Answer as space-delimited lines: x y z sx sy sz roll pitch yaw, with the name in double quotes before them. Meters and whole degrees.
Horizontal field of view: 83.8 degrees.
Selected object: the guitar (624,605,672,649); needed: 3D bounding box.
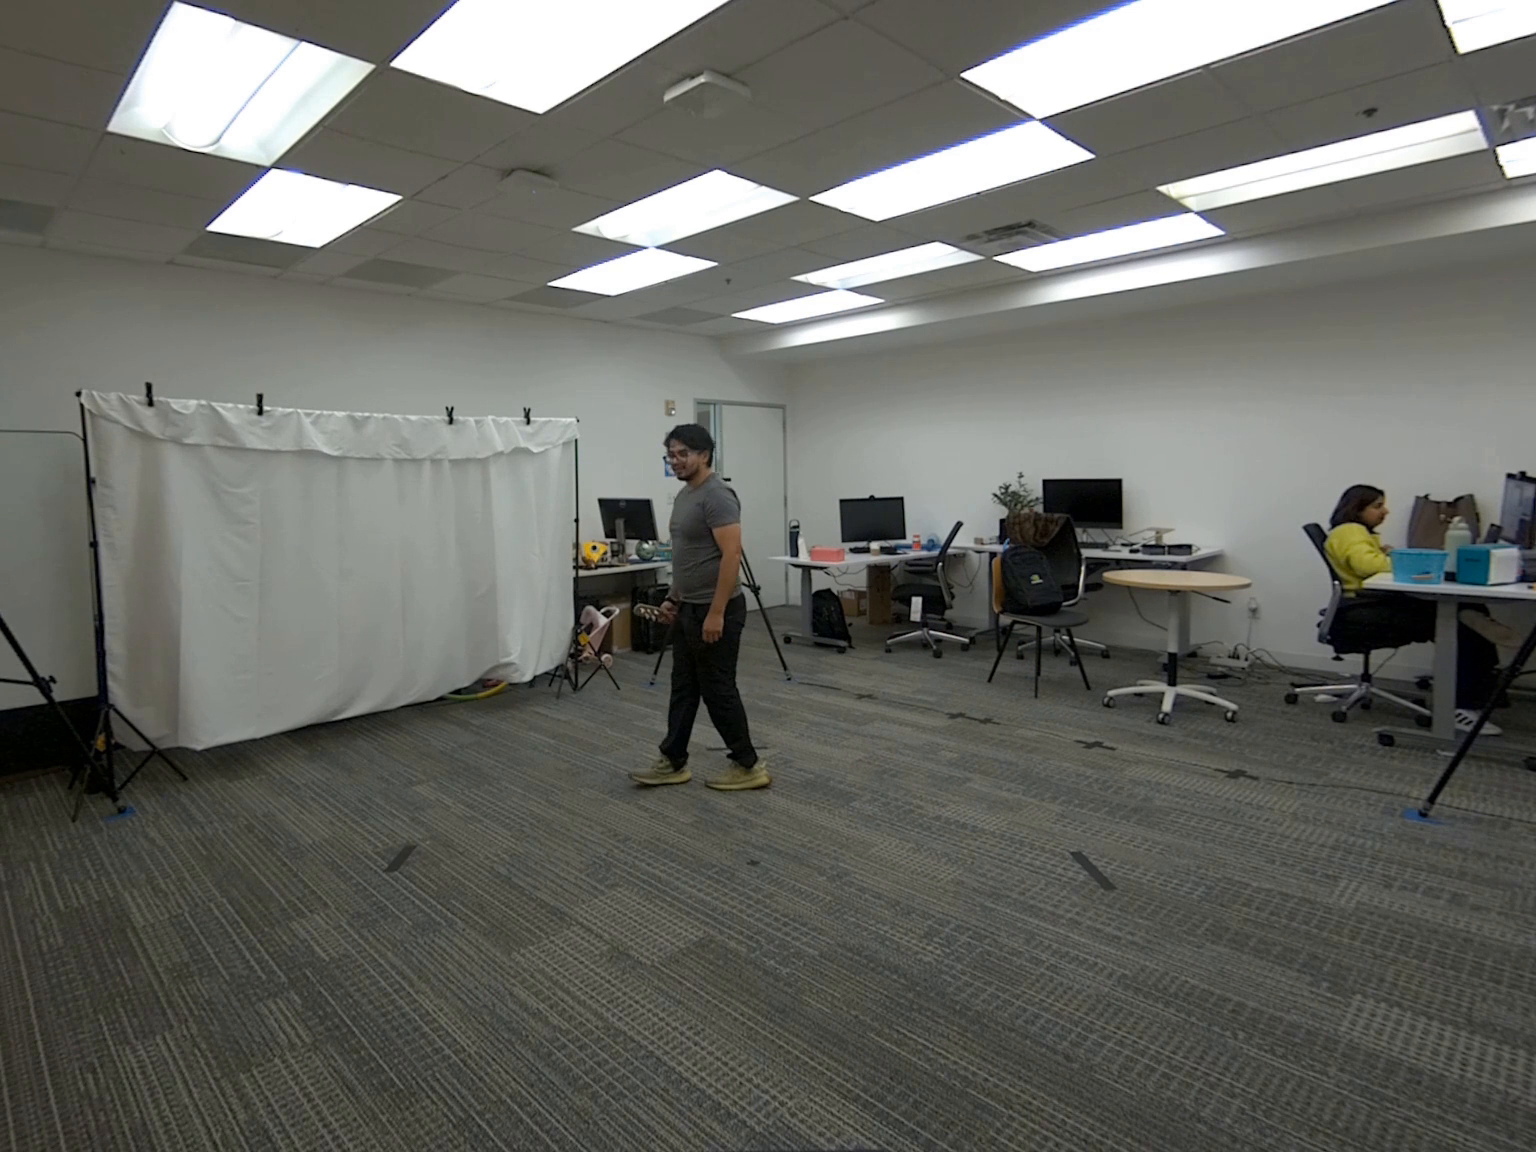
"guitar" -0.429 0.243 4.109 0.485 0.191 0.073 3 26 -31
